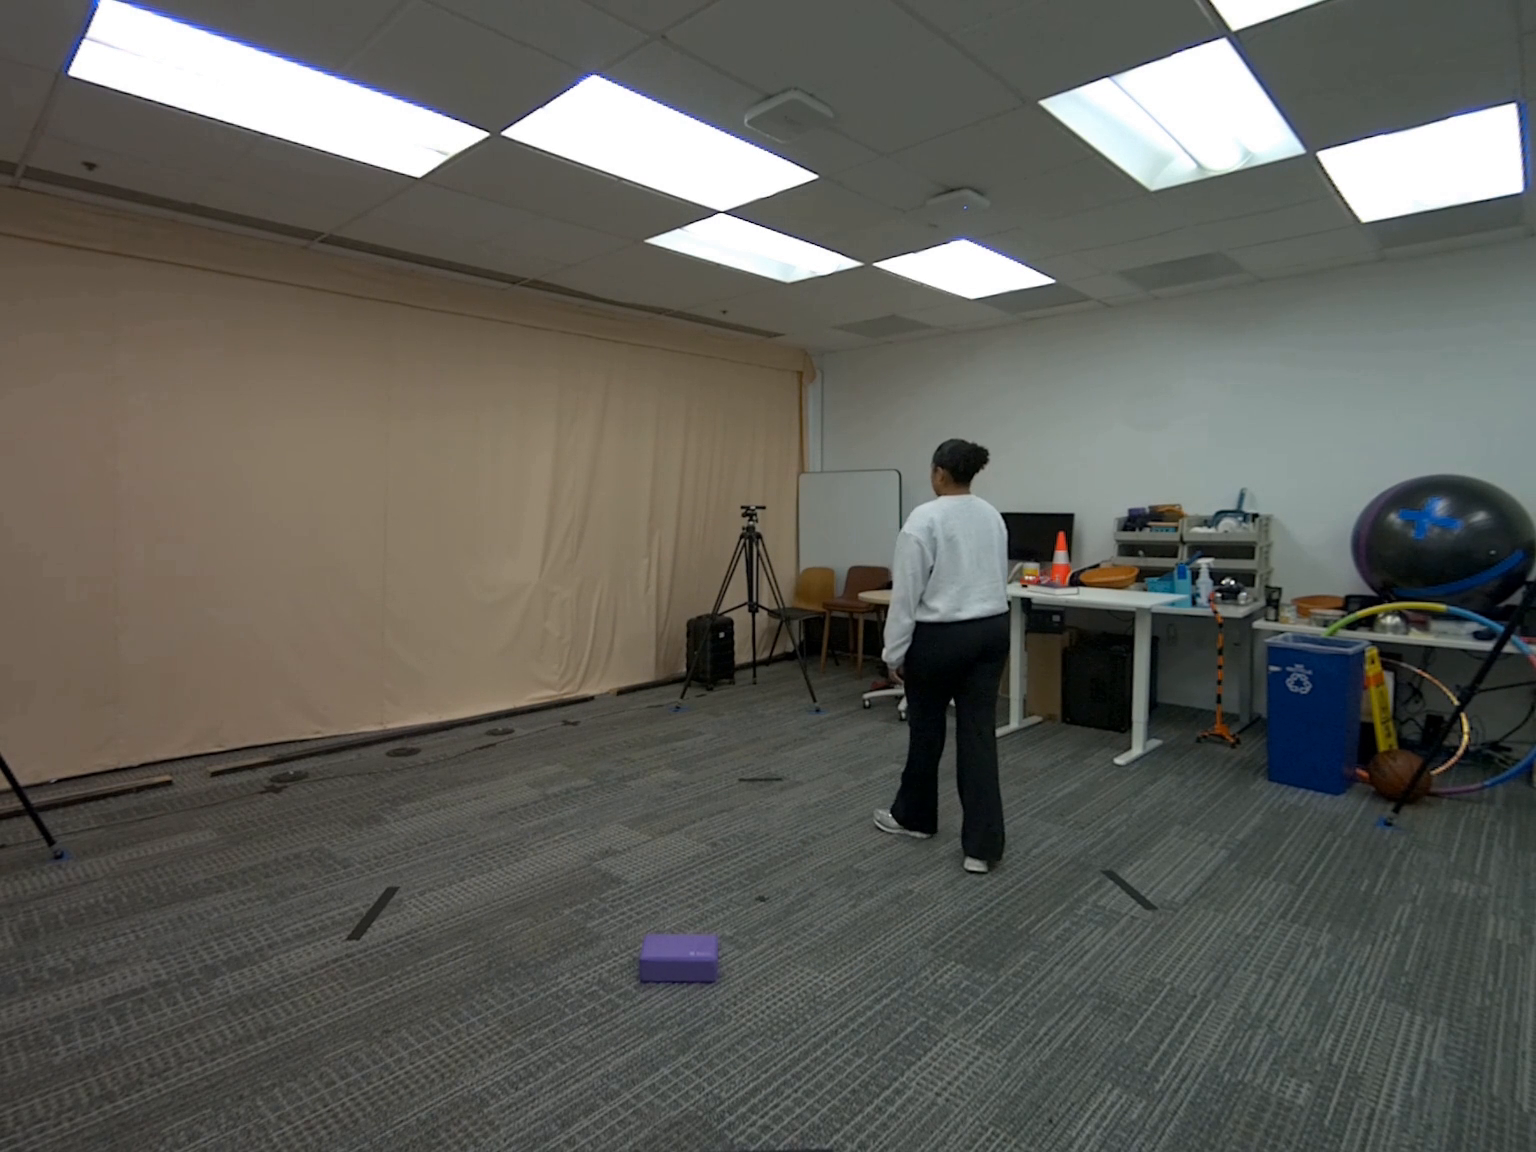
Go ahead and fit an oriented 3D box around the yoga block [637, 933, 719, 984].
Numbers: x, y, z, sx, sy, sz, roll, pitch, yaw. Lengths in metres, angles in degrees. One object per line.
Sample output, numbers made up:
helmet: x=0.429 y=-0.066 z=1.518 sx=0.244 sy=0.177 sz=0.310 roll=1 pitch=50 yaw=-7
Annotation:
yoga block: x=-0.264 y=1.145 z=2.520 sx=0.230 sy=0.076 sz=0.149 roll=0 pitch=3 yaw=1
